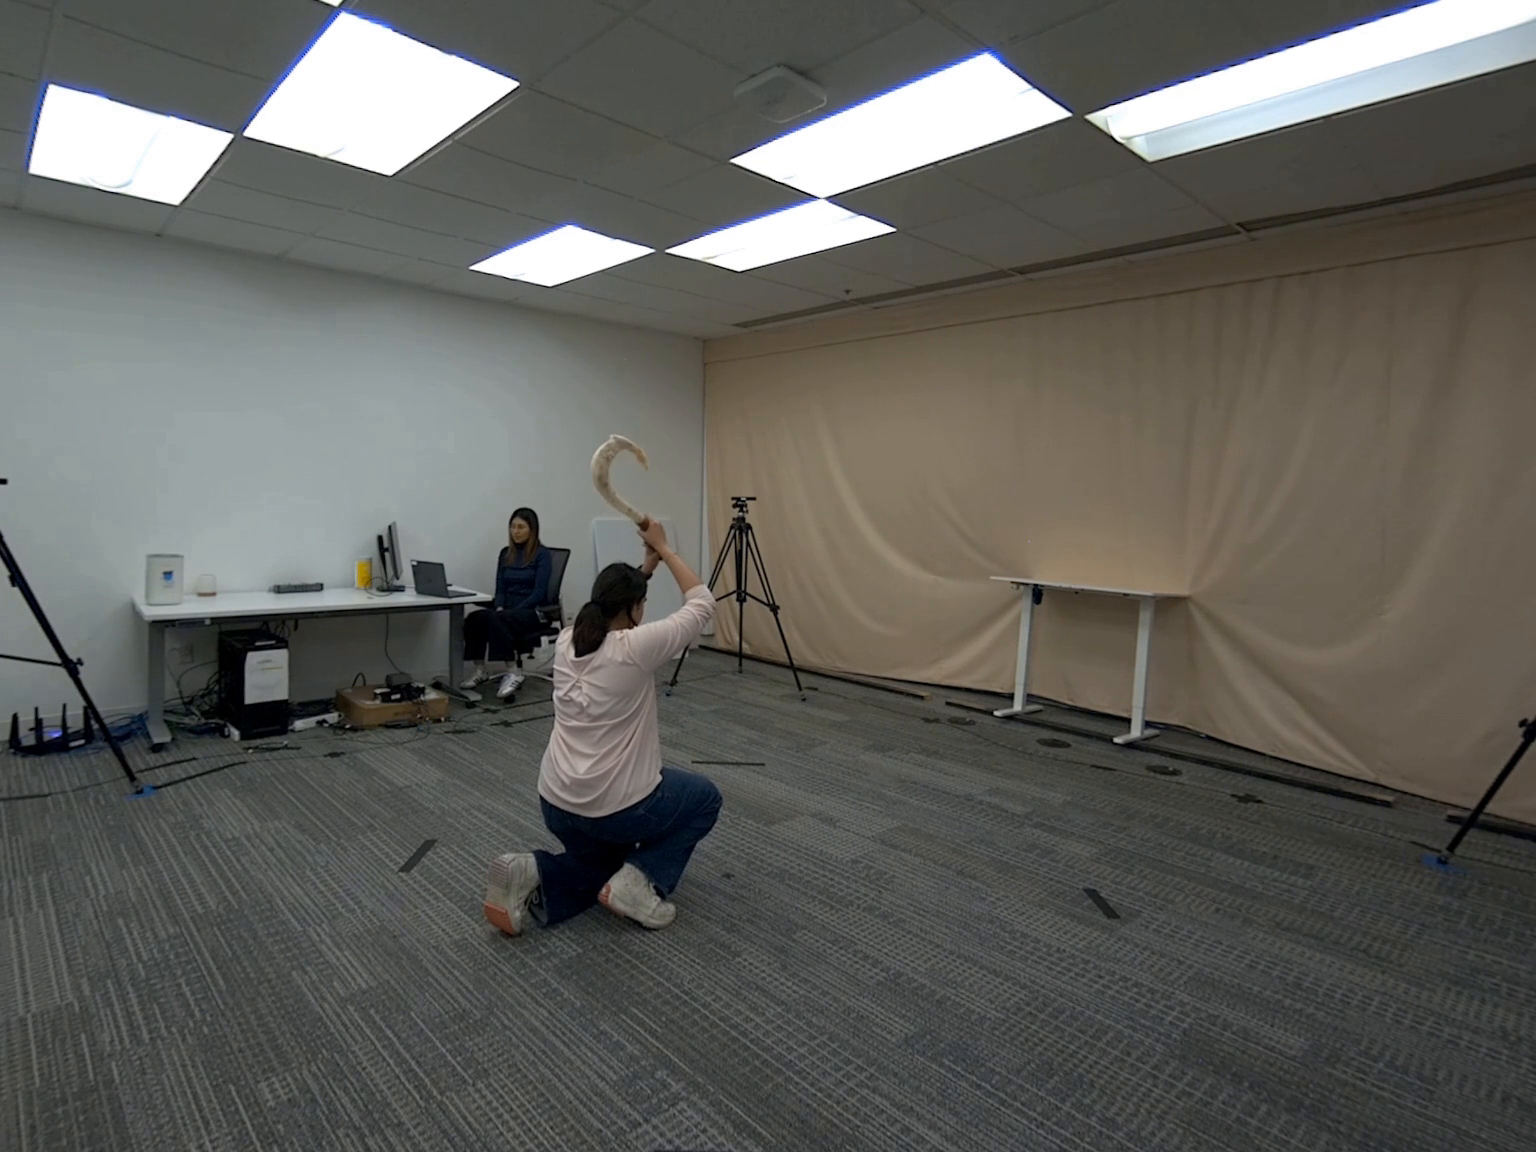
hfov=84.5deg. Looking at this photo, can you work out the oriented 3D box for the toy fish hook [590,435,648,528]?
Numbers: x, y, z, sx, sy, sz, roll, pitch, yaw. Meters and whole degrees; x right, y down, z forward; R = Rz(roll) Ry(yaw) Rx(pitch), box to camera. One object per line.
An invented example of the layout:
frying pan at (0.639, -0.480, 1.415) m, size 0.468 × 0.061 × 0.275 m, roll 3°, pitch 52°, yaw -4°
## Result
toy fish hook at (-0.445, -0.260, 2.908) m, size 0.050 × 0.491 × 0.225 m, roll 18°, pitch 58°, yaw 42°
